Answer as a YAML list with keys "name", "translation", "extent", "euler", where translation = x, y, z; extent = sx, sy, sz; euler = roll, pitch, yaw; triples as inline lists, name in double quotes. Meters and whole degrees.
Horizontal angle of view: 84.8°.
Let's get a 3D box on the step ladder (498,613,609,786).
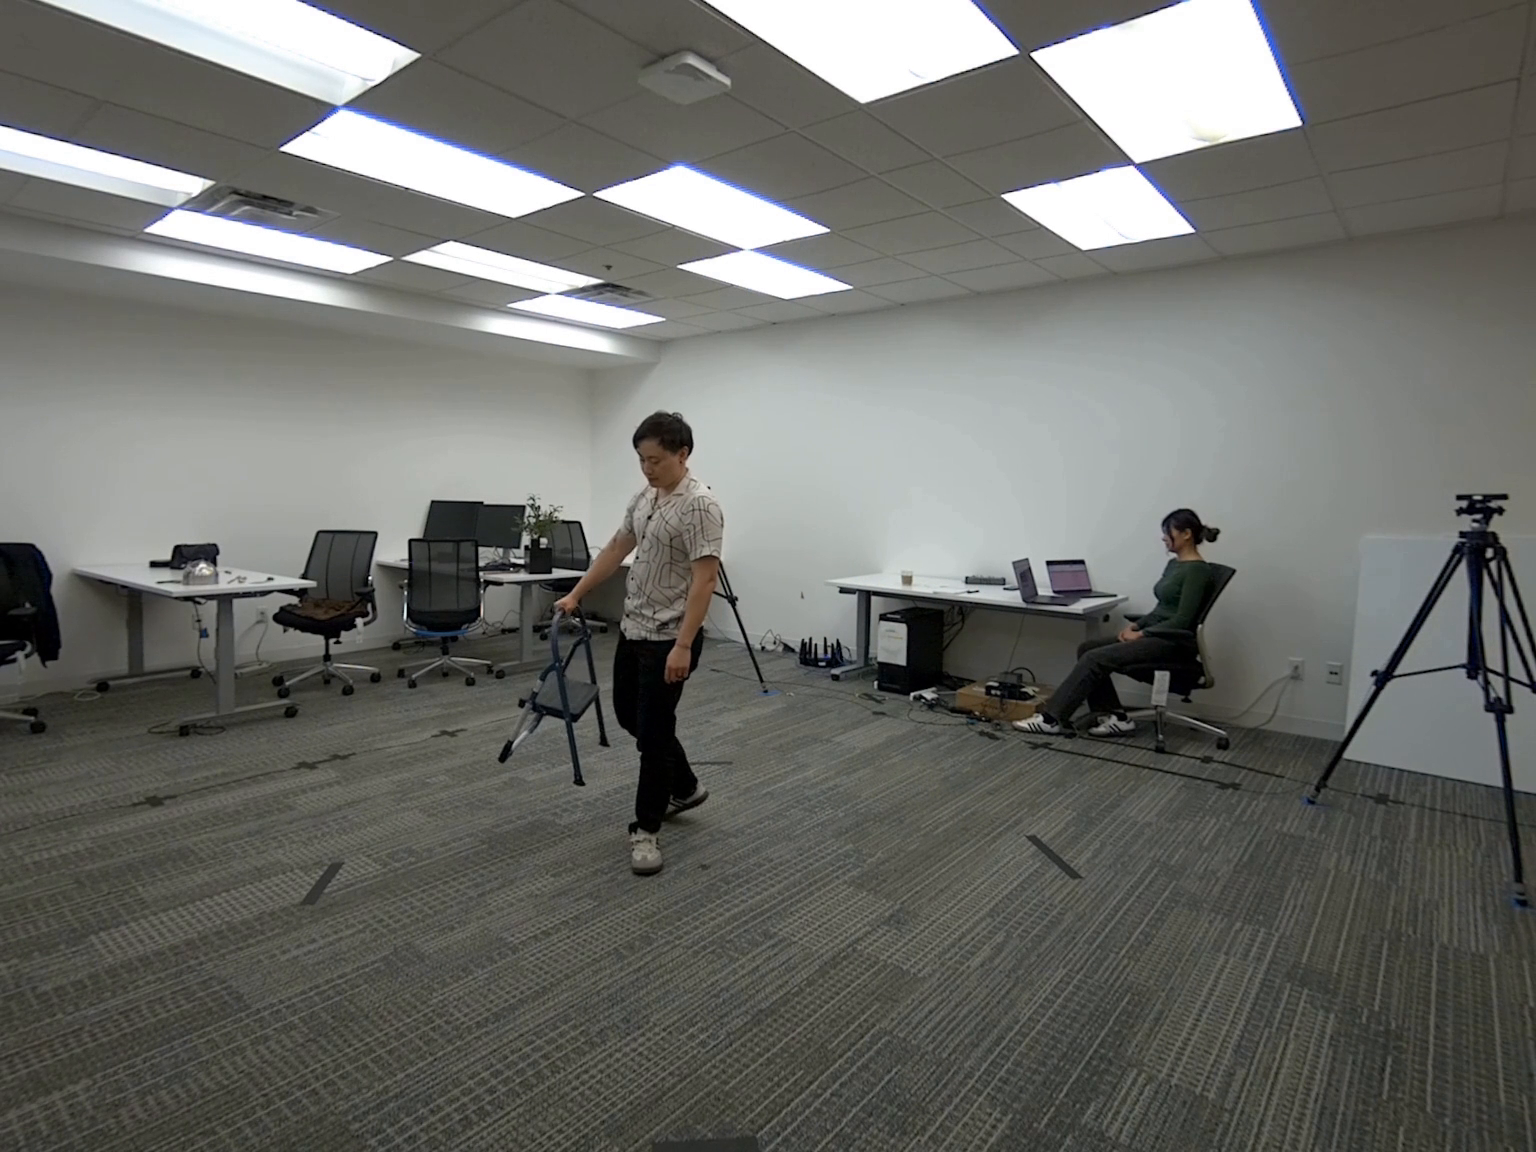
- name: "step ladder"
  translation: [-0.803, 0.439, 3.407]
  extent: [0.351, 0.602, 0.432]
  euler: [14, 10, 2]
